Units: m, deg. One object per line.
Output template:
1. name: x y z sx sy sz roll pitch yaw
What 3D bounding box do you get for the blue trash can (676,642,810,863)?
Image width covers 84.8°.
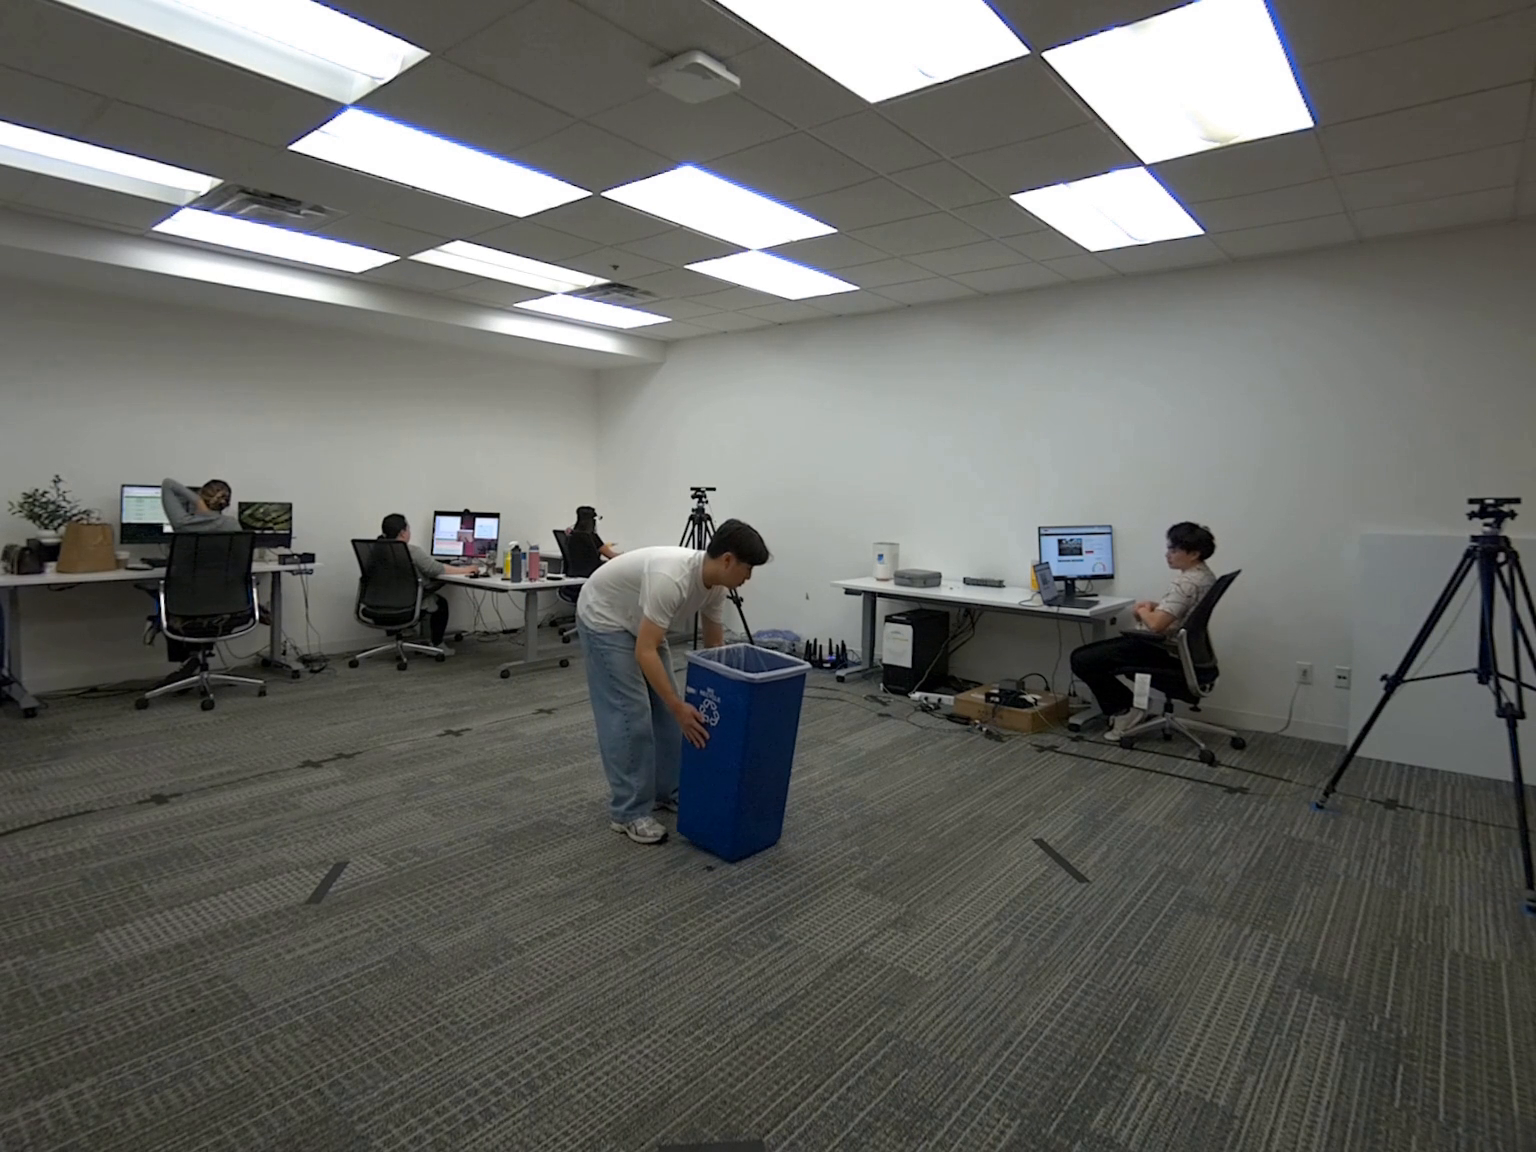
1. blue trash can: -0.115 0.656 3.303 0.388 0.709 0.366 11 9 39
